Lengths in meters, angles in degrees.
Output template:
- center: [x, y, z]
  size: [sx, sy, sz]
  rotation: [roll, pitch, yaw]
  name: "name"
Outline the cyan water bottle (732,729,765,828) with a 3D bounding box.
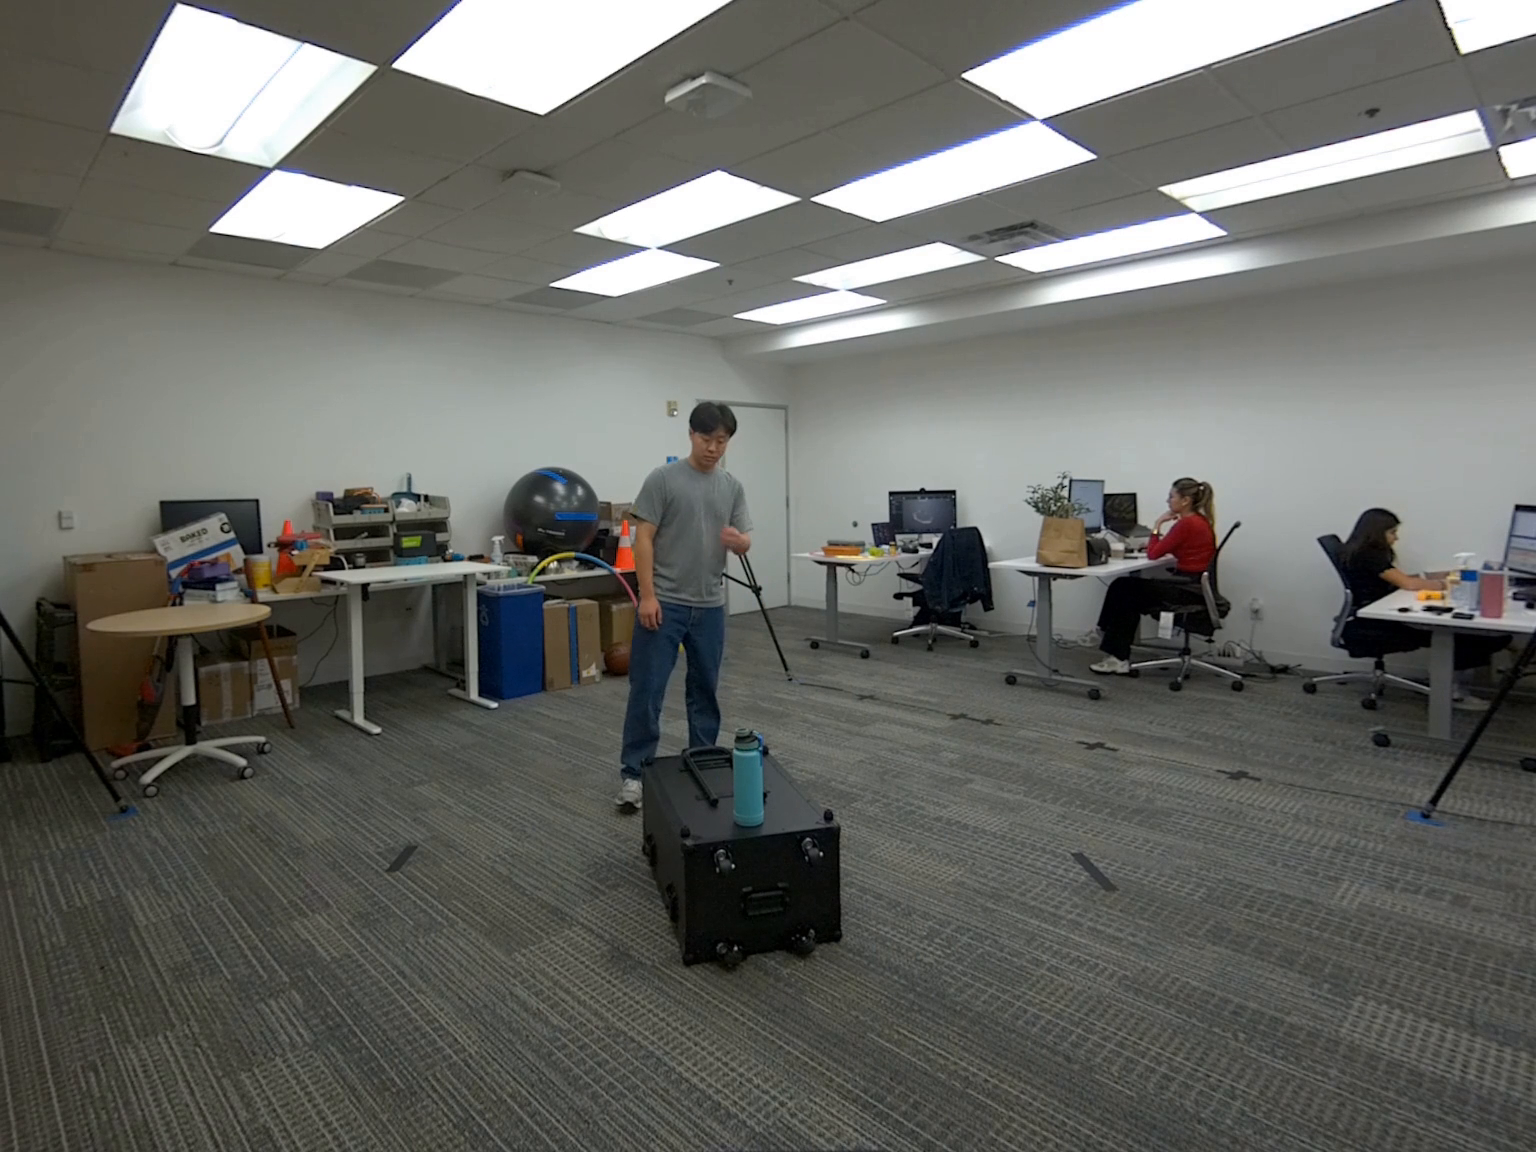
- center: [-0.055, 0.603, 2.597]
  size: [0.092, 0.283, 0.092]
  rotation: [2, 2, -2]
  name: "cyan water bottle"
